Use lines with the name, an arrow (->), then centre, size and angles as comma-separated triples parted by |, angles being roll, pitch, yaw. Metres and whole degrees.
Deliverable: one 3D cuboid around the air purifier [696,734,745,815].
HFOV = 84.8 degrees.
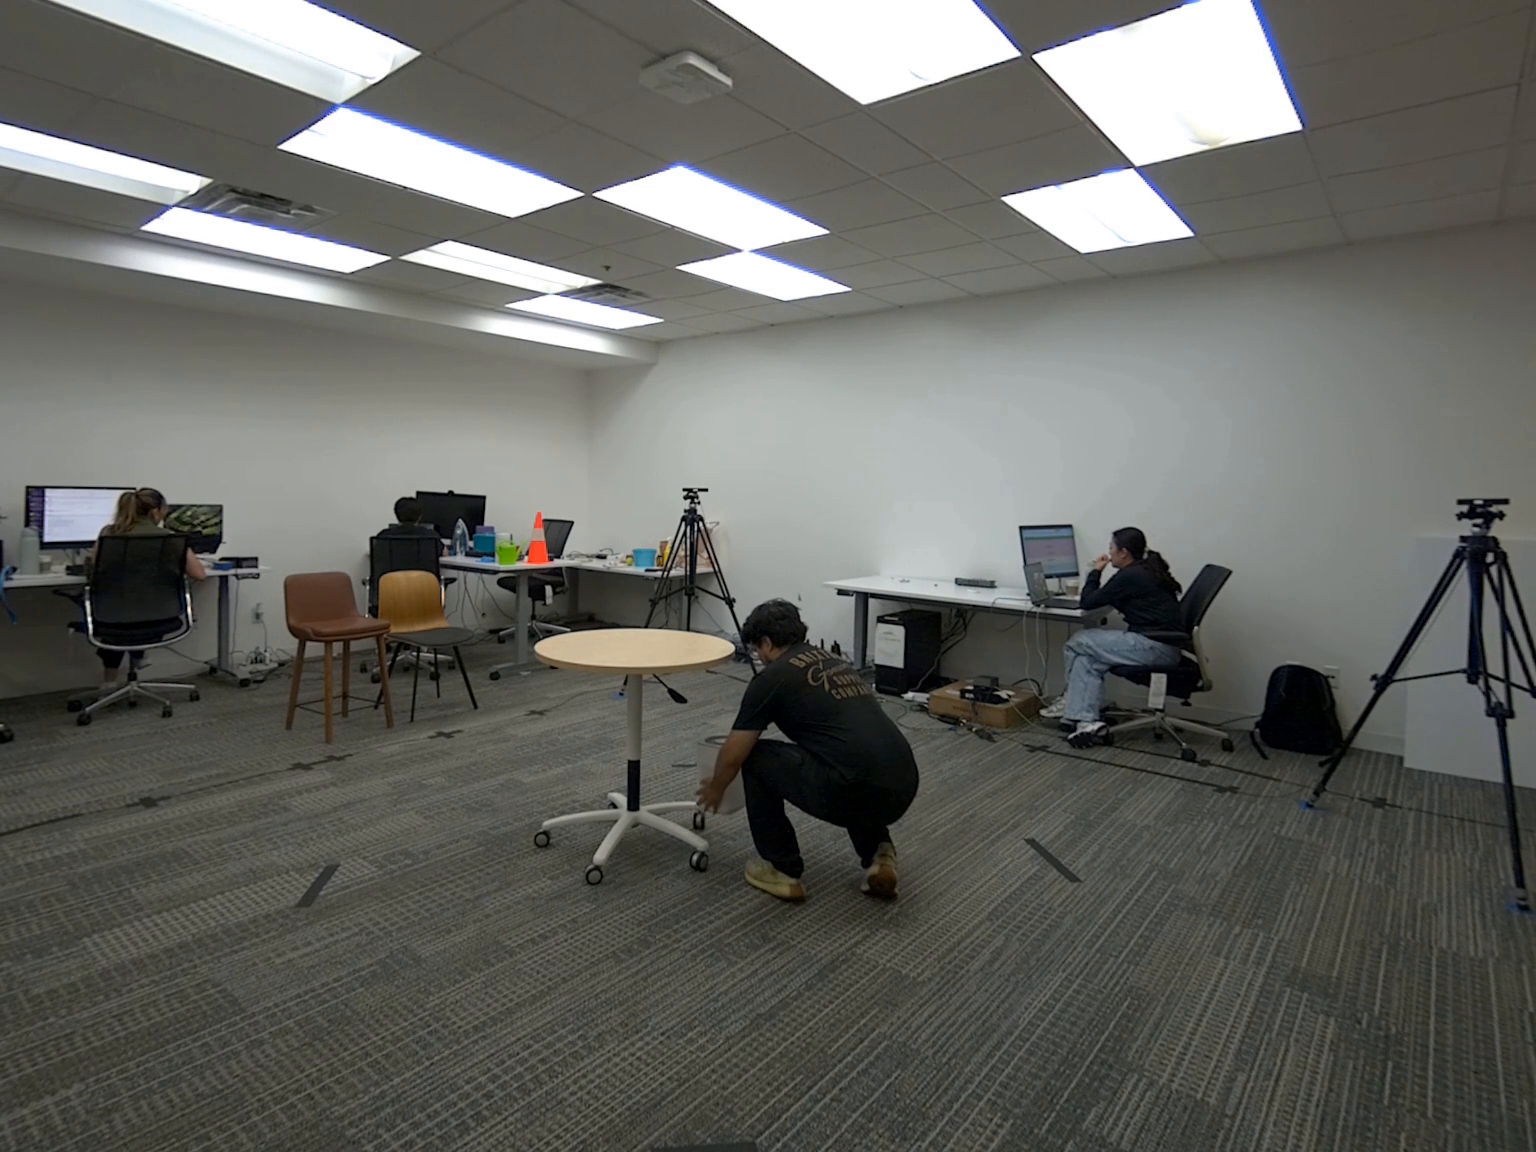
air purifier -> -0.189, 0.759, 3.288 | 0.176, 0.264, 0.167 | 3, 5, 30
